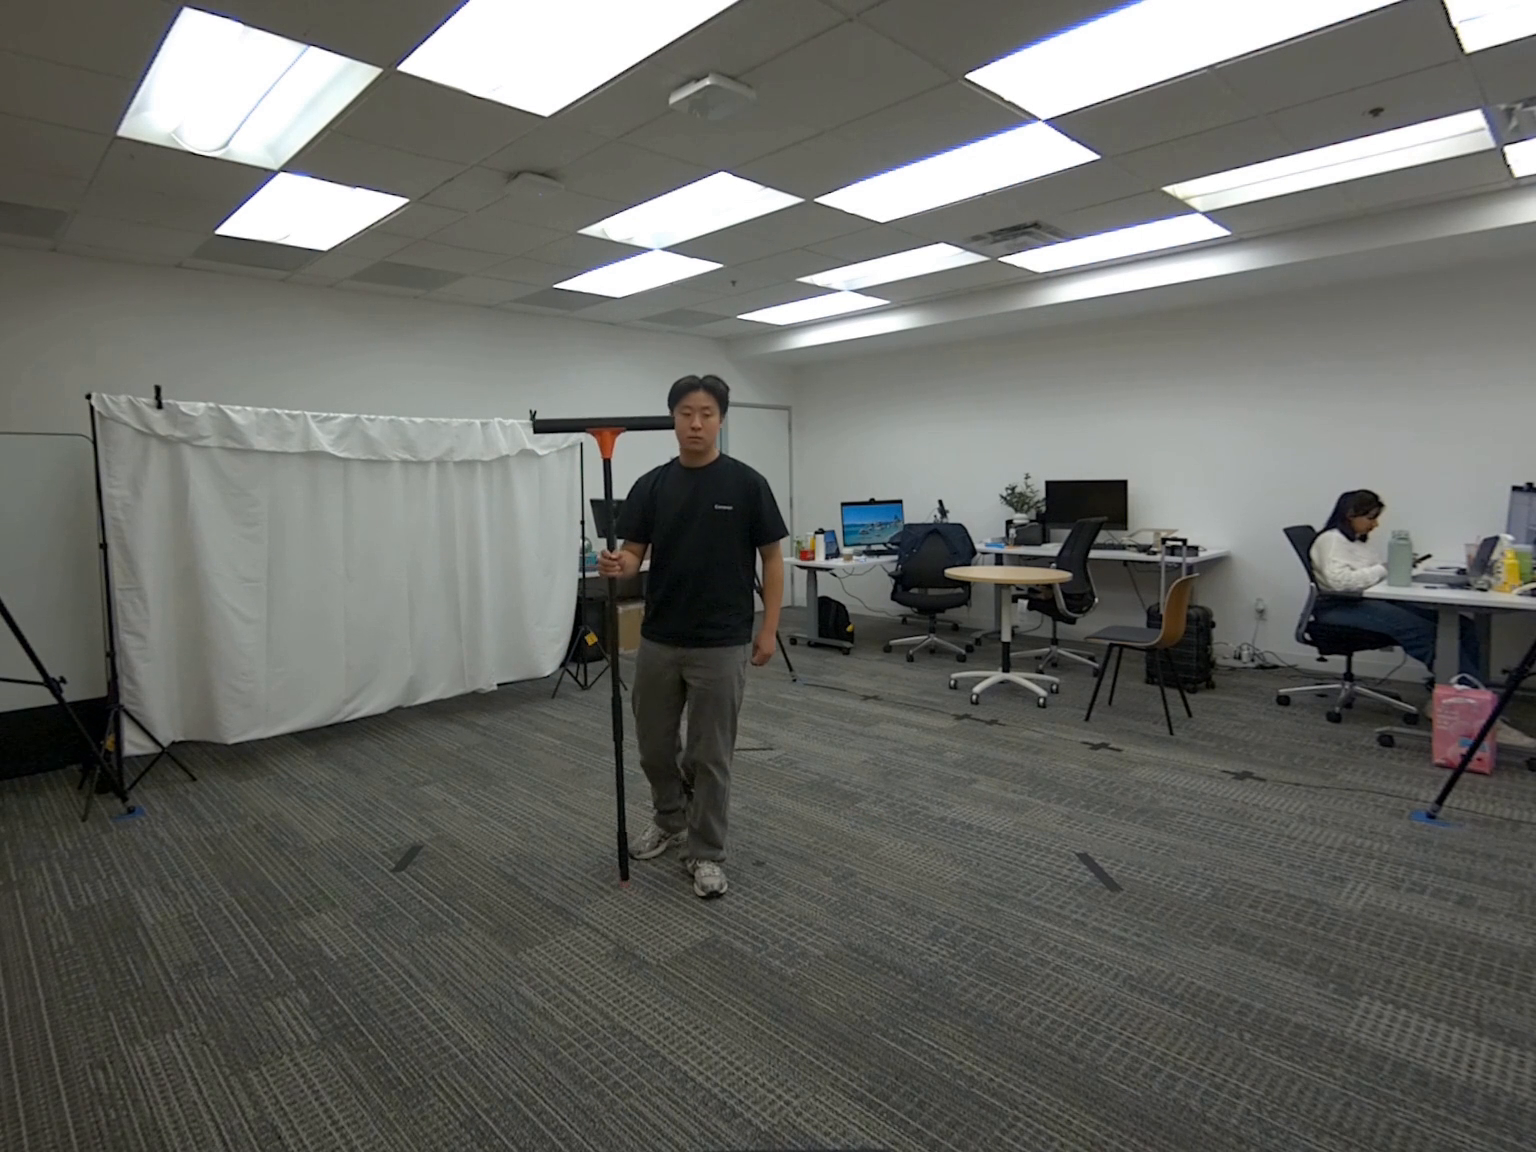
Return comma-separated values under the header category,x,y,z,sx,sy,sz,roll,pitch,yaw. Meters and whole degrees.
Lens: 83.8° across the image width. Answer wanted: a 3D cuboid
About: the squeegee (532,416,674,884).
category,x,y,z,sx,sy,sz,roll,pitch,yaw
squeegee,-0.496,0.278,2.716,0.432,1.525,0.054,-2,8,-12
